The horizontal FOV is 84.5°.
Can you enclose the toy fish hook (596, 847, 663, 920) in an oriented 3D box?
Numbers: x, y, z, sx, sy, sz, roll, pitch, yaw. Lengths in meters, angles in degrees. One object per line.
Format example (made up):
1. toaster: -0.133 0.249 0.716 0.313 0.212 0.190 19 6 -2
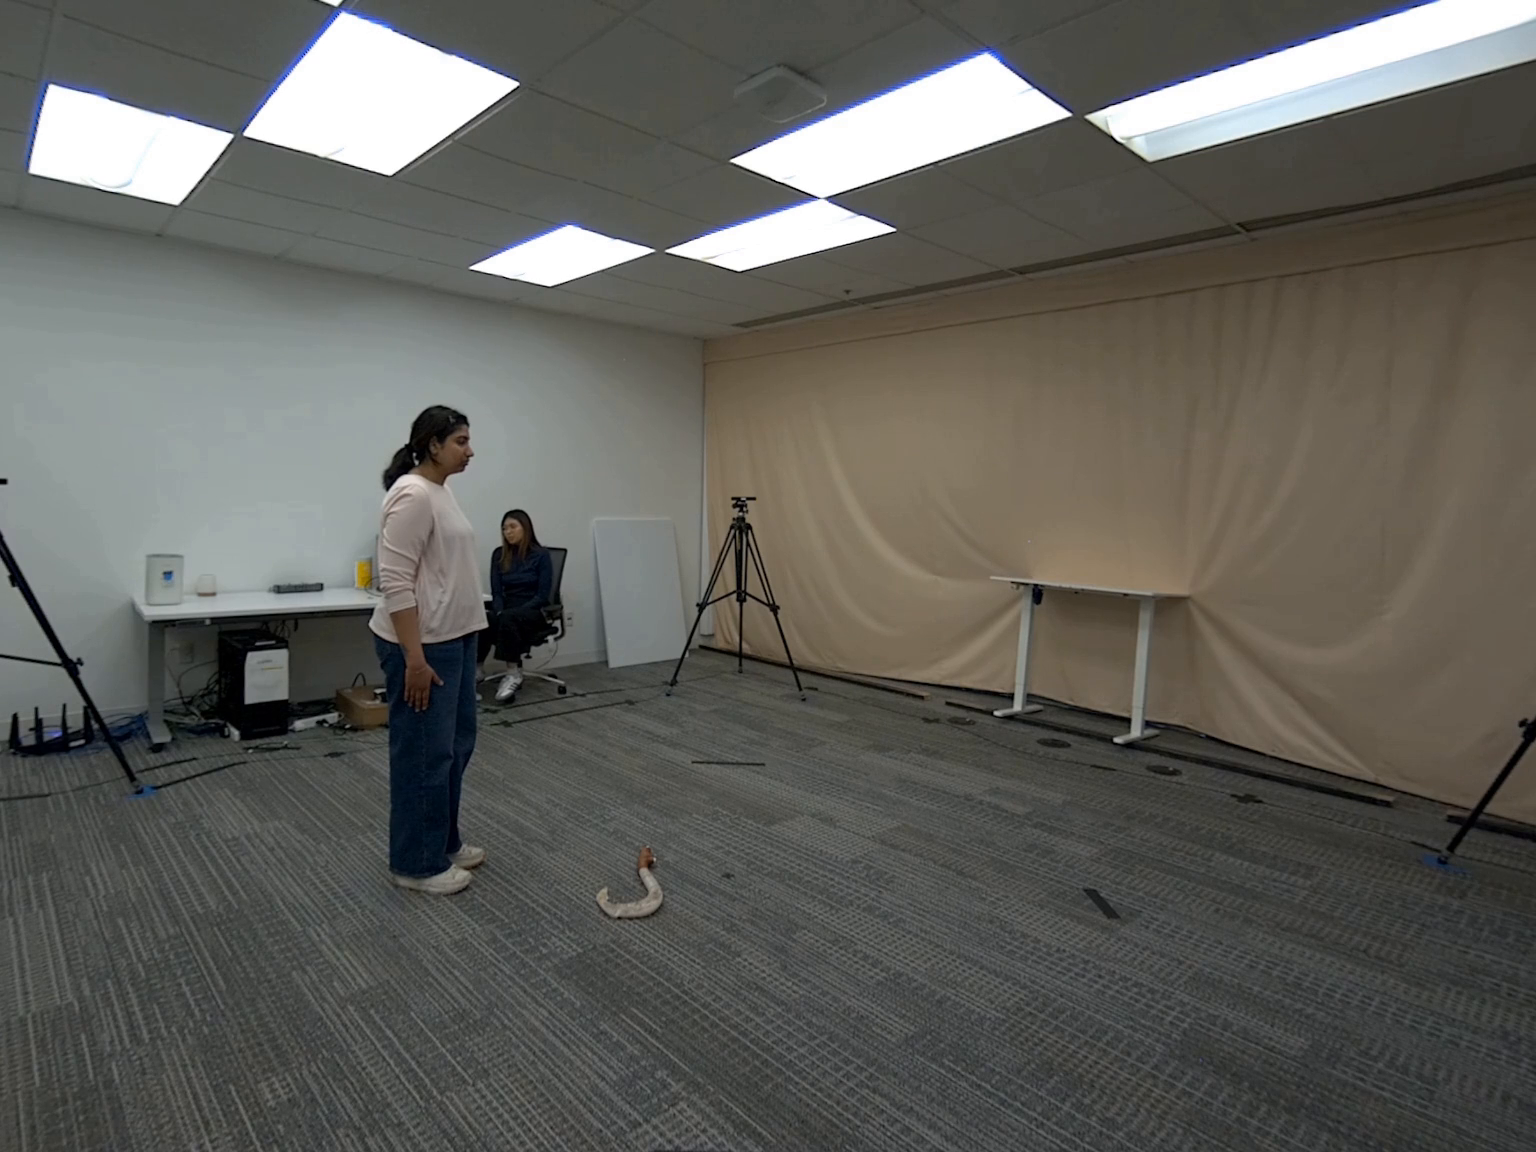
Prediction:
1. toy fish hook: -0.499 1.084 3.012 0.223 0.048 0.511 2 5 -8
